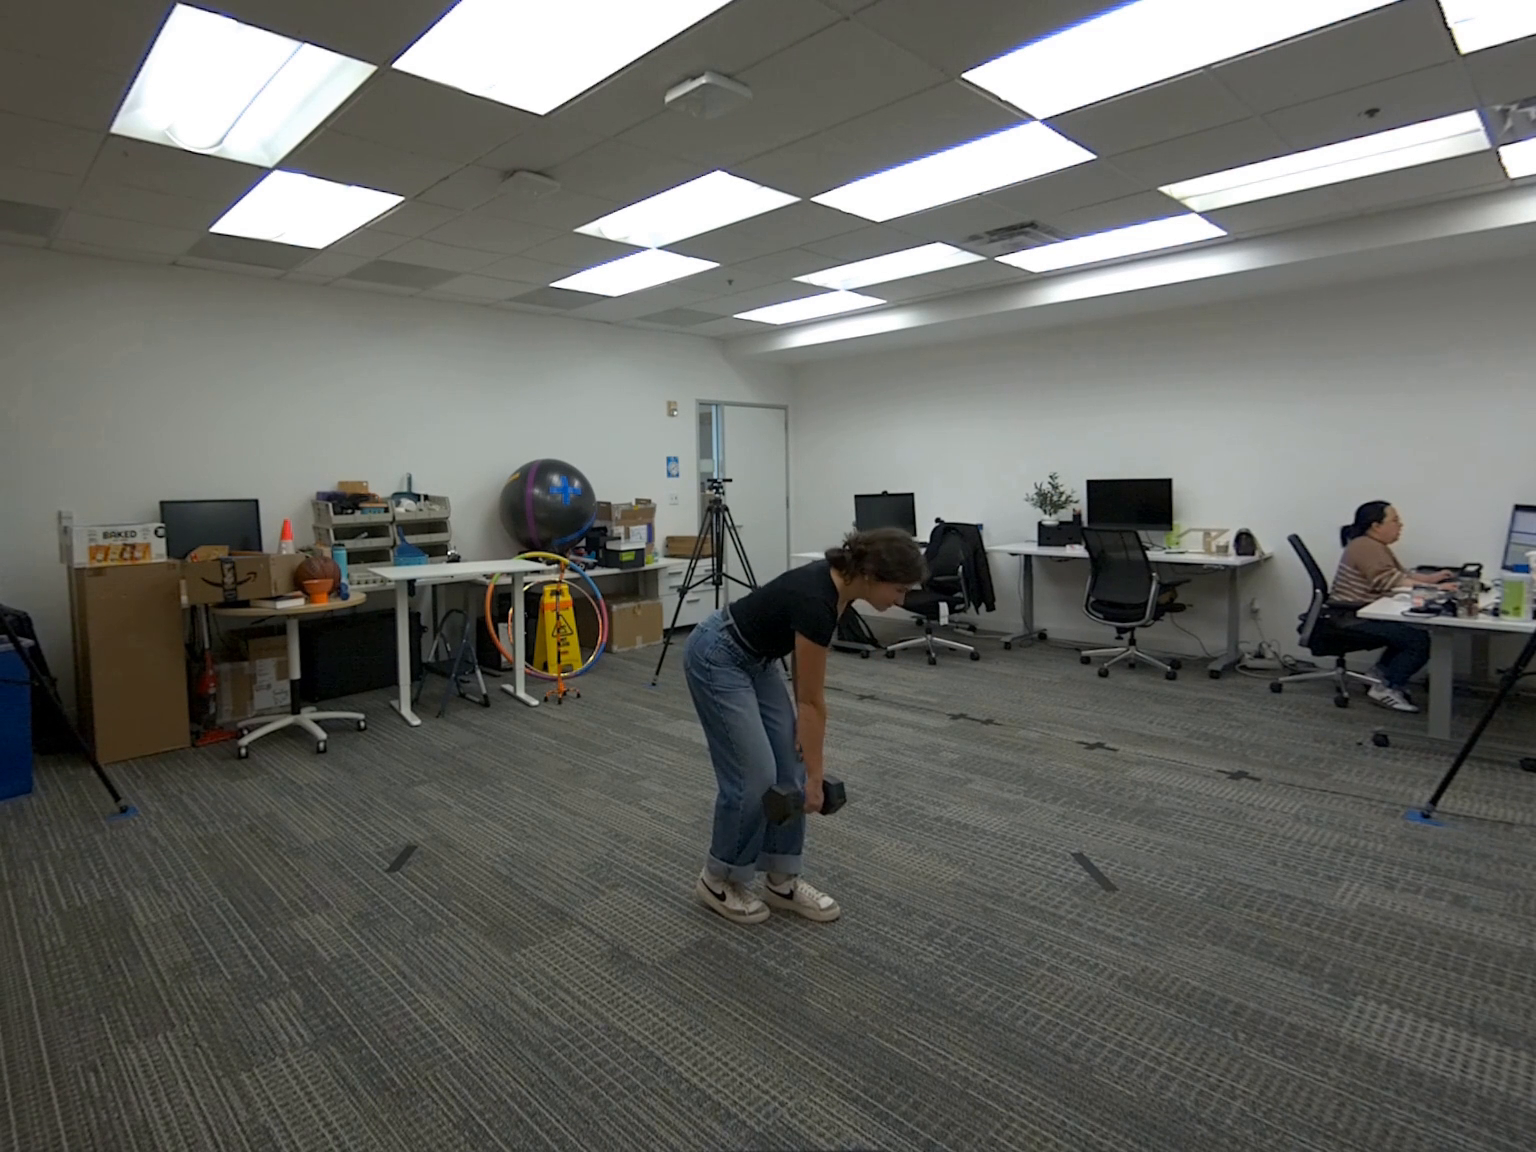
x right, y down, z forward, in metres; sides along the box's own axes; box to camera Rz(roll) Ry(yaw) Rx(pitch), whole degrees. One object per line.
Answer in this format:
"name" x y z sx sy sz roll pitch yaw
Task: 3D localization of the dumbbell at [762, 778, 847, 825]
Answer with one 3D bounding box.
"dumbbell" 0.107 0.686 2.630 0.285 0.122 0.112 3 42 -49
